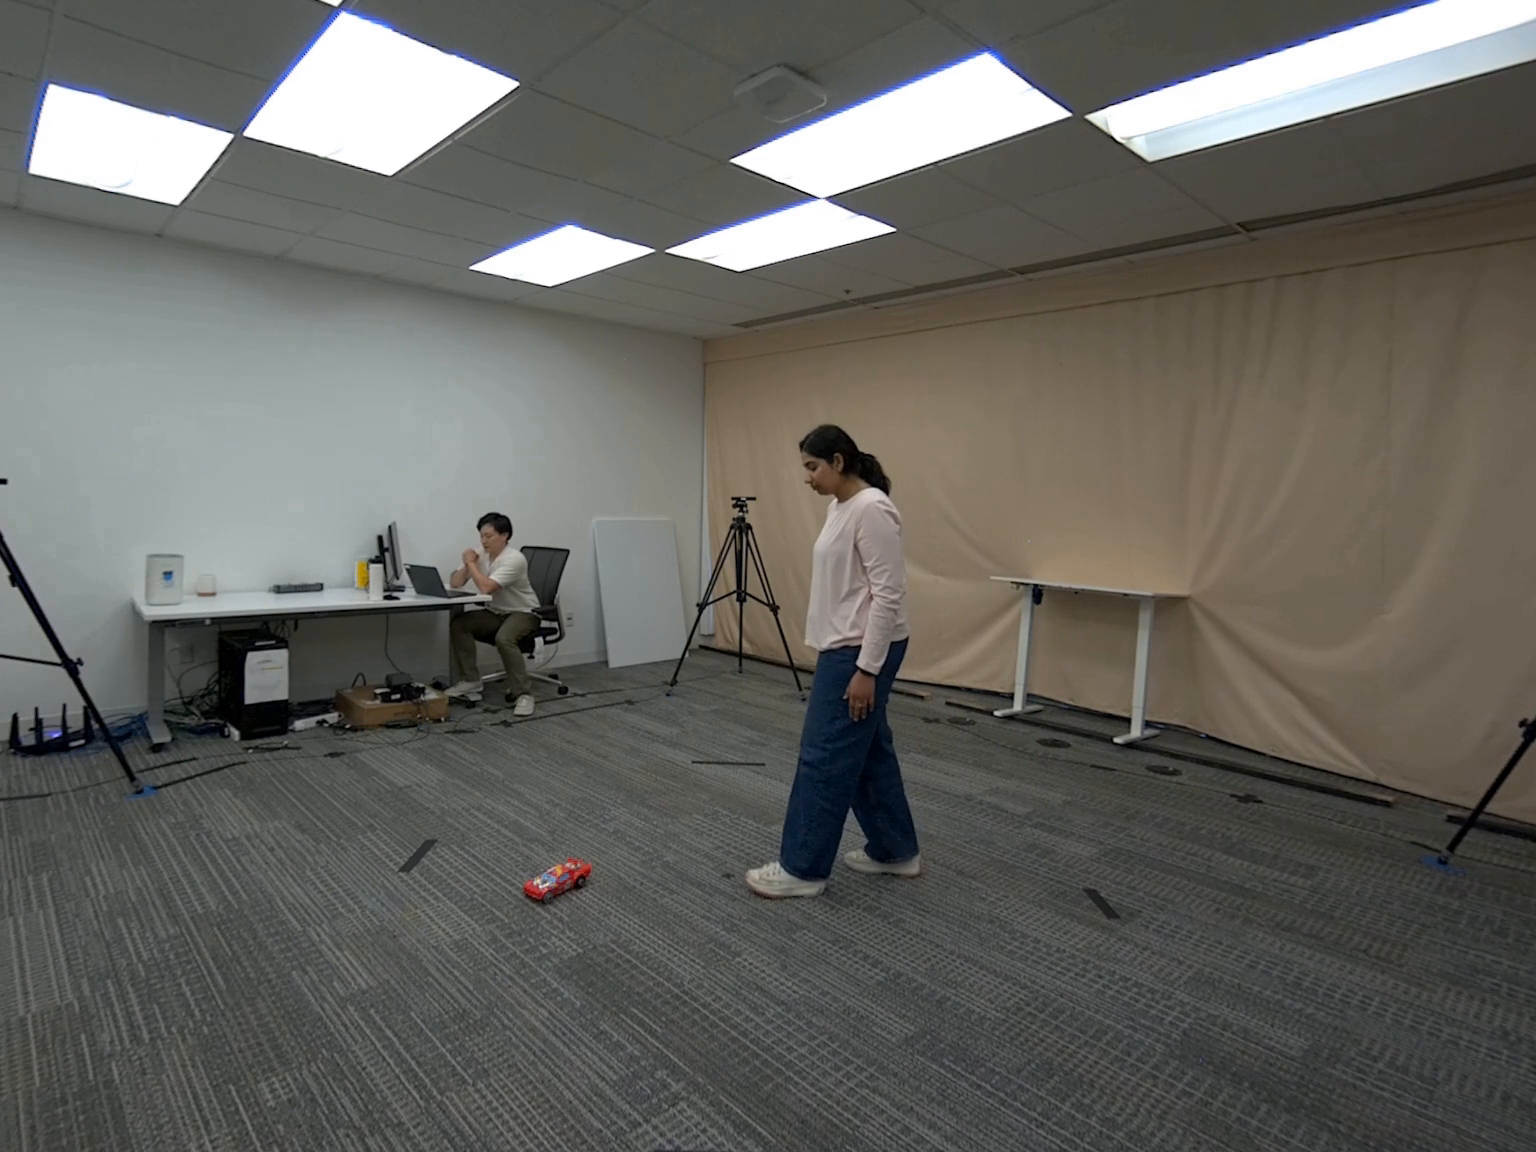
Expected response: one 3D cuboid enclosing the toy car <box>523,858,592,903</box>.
[{"bbox_3d":[-0.747,1.077,2.965,0.133,0.082,0.251,3,16,36],"label":"toy car"}]
